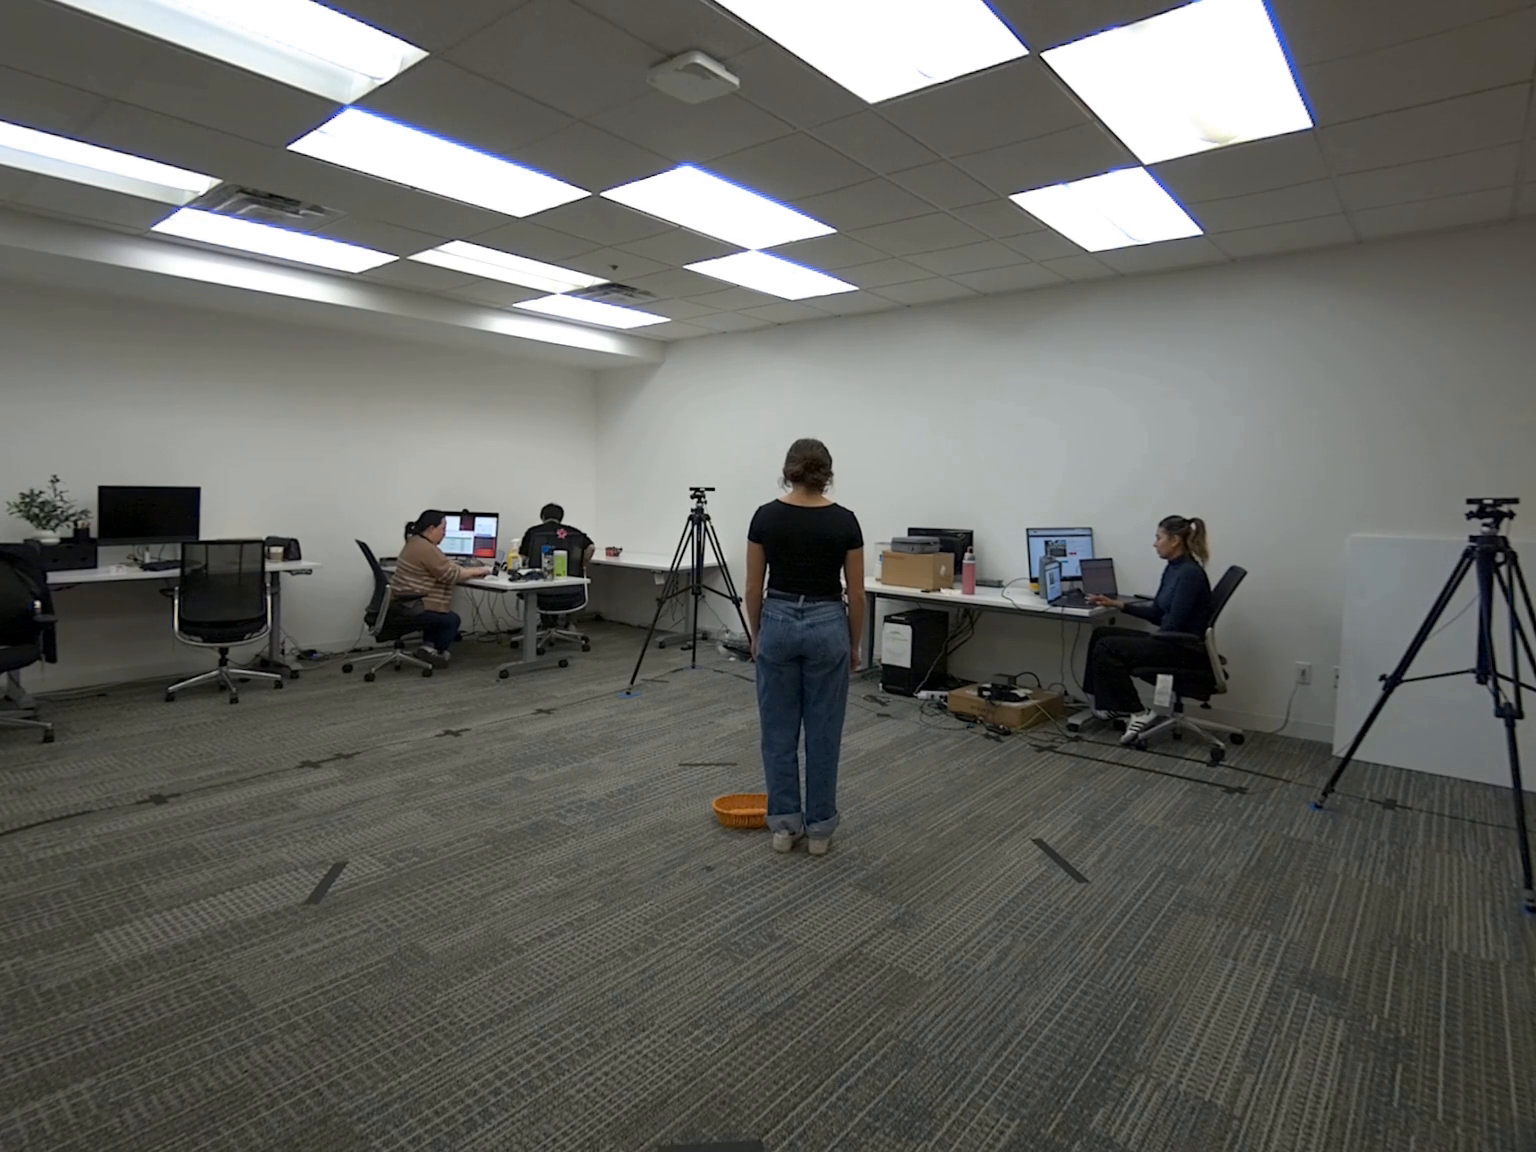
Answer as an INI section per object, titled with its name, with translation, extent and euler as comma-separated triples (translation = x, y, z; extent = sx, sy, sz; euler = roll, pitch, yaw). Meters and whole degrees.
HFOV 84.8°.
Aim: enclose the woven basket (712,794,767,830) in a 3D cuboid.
[woven basket]
translation = -0.079, 0.983, 3.580
extent = 0.347, 0.073, 0.256
euler = -1, 5, -10
